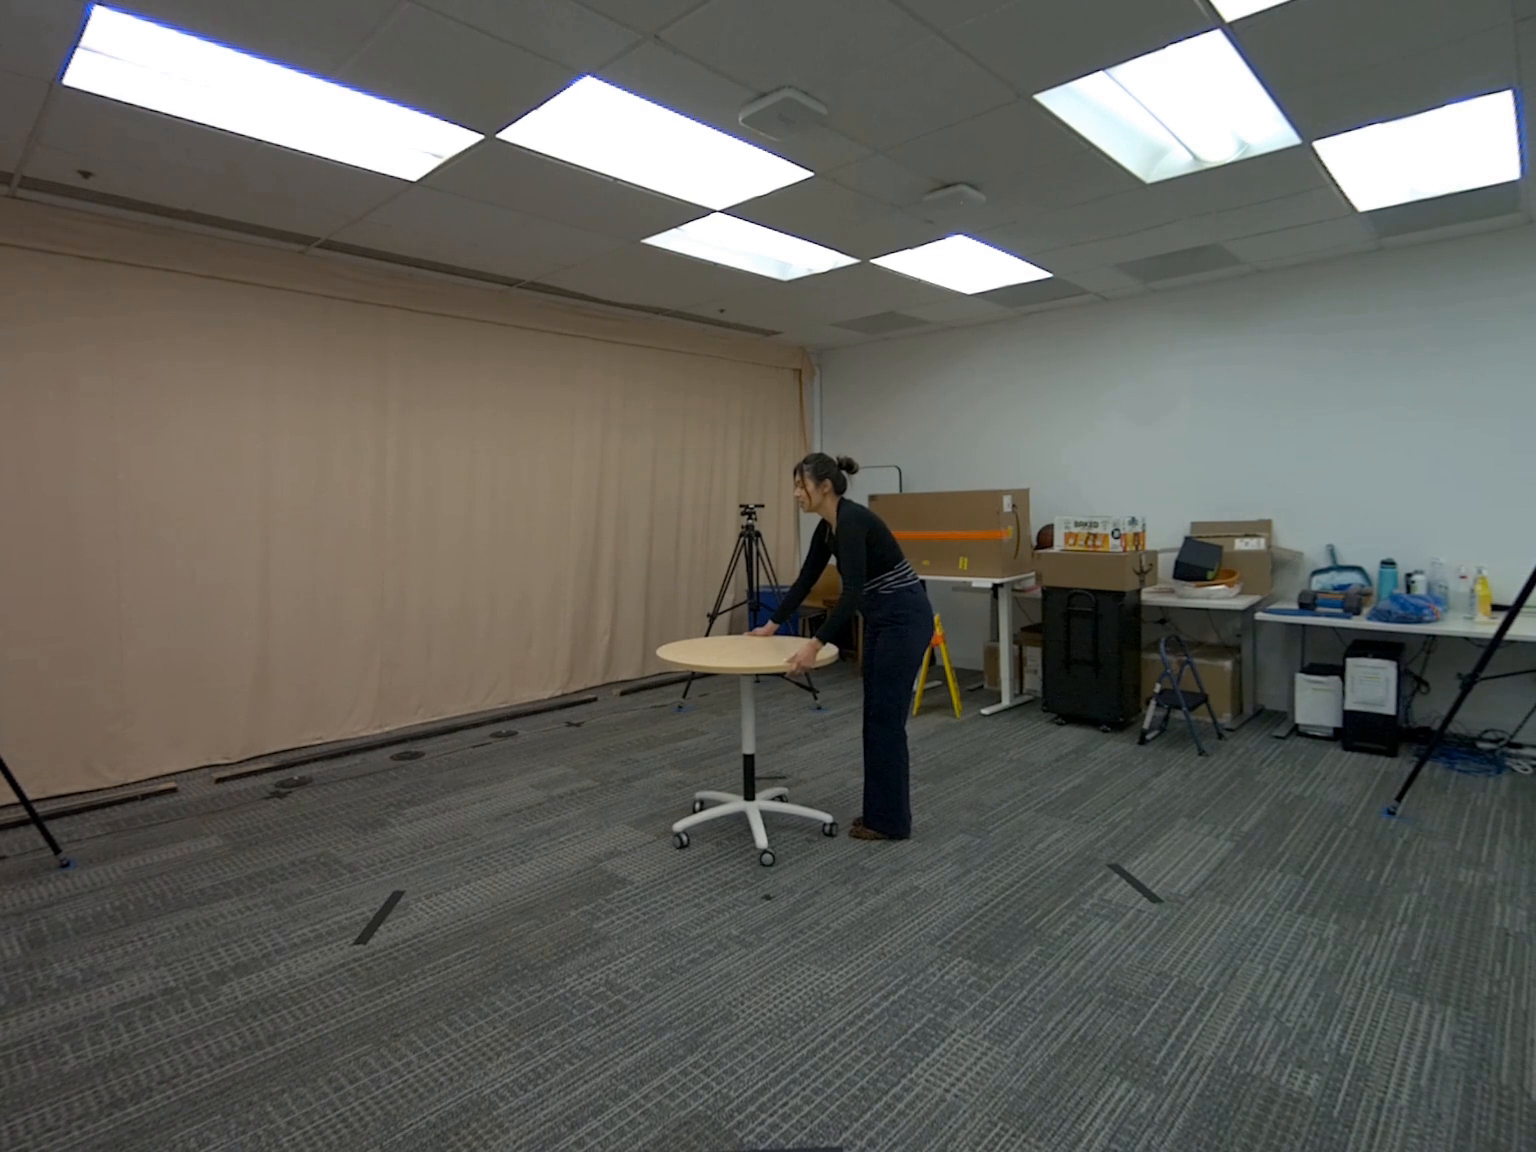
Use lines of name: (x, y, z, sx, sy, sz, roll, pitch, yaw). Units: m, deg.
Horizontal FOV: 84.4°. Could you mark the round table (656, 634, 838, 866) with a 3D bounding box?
round table: (-0.076, 0.705, 3.572, 0.763, 0.792, 0.766, -1, 4, -2)
